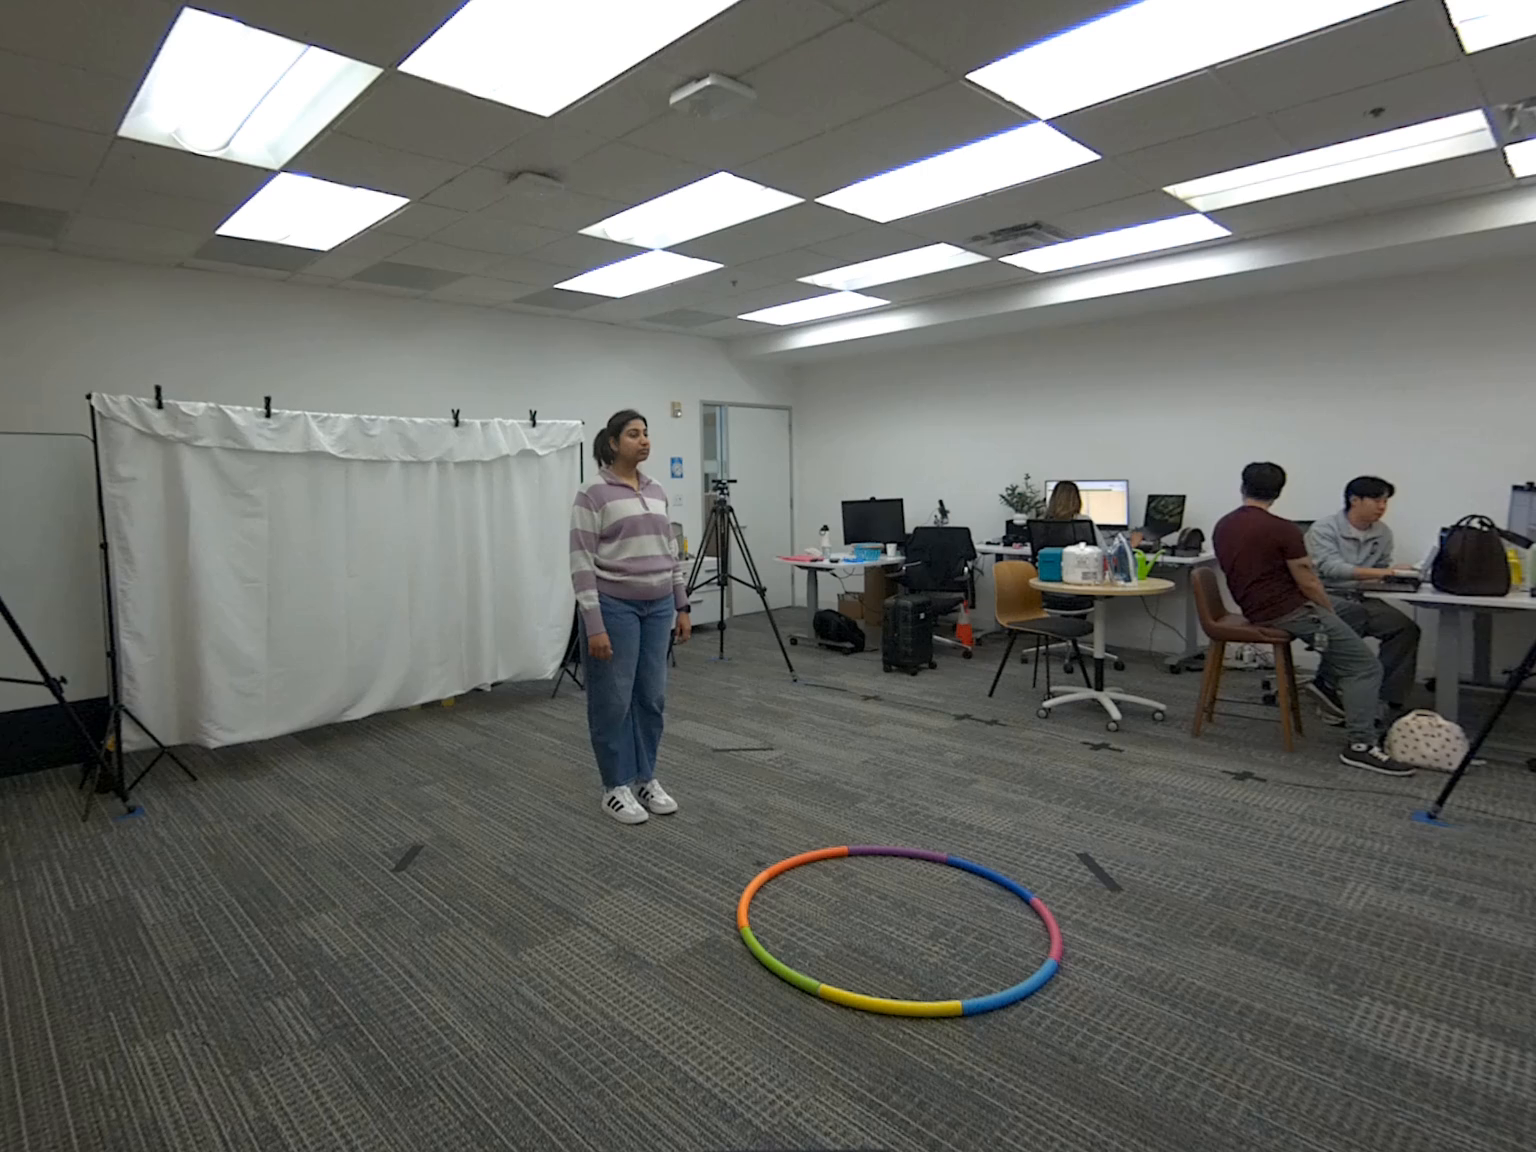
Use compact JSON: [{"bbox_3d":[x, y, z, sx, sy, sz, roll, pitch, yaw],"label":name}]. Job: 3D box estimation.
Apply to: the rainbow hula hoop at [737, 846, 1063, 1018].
[{"bbox_3d":[0.392,1.057,2.690,0.978,0.035,0.984,-2,7,-2],"label":"rainbow hula hoop"}]
